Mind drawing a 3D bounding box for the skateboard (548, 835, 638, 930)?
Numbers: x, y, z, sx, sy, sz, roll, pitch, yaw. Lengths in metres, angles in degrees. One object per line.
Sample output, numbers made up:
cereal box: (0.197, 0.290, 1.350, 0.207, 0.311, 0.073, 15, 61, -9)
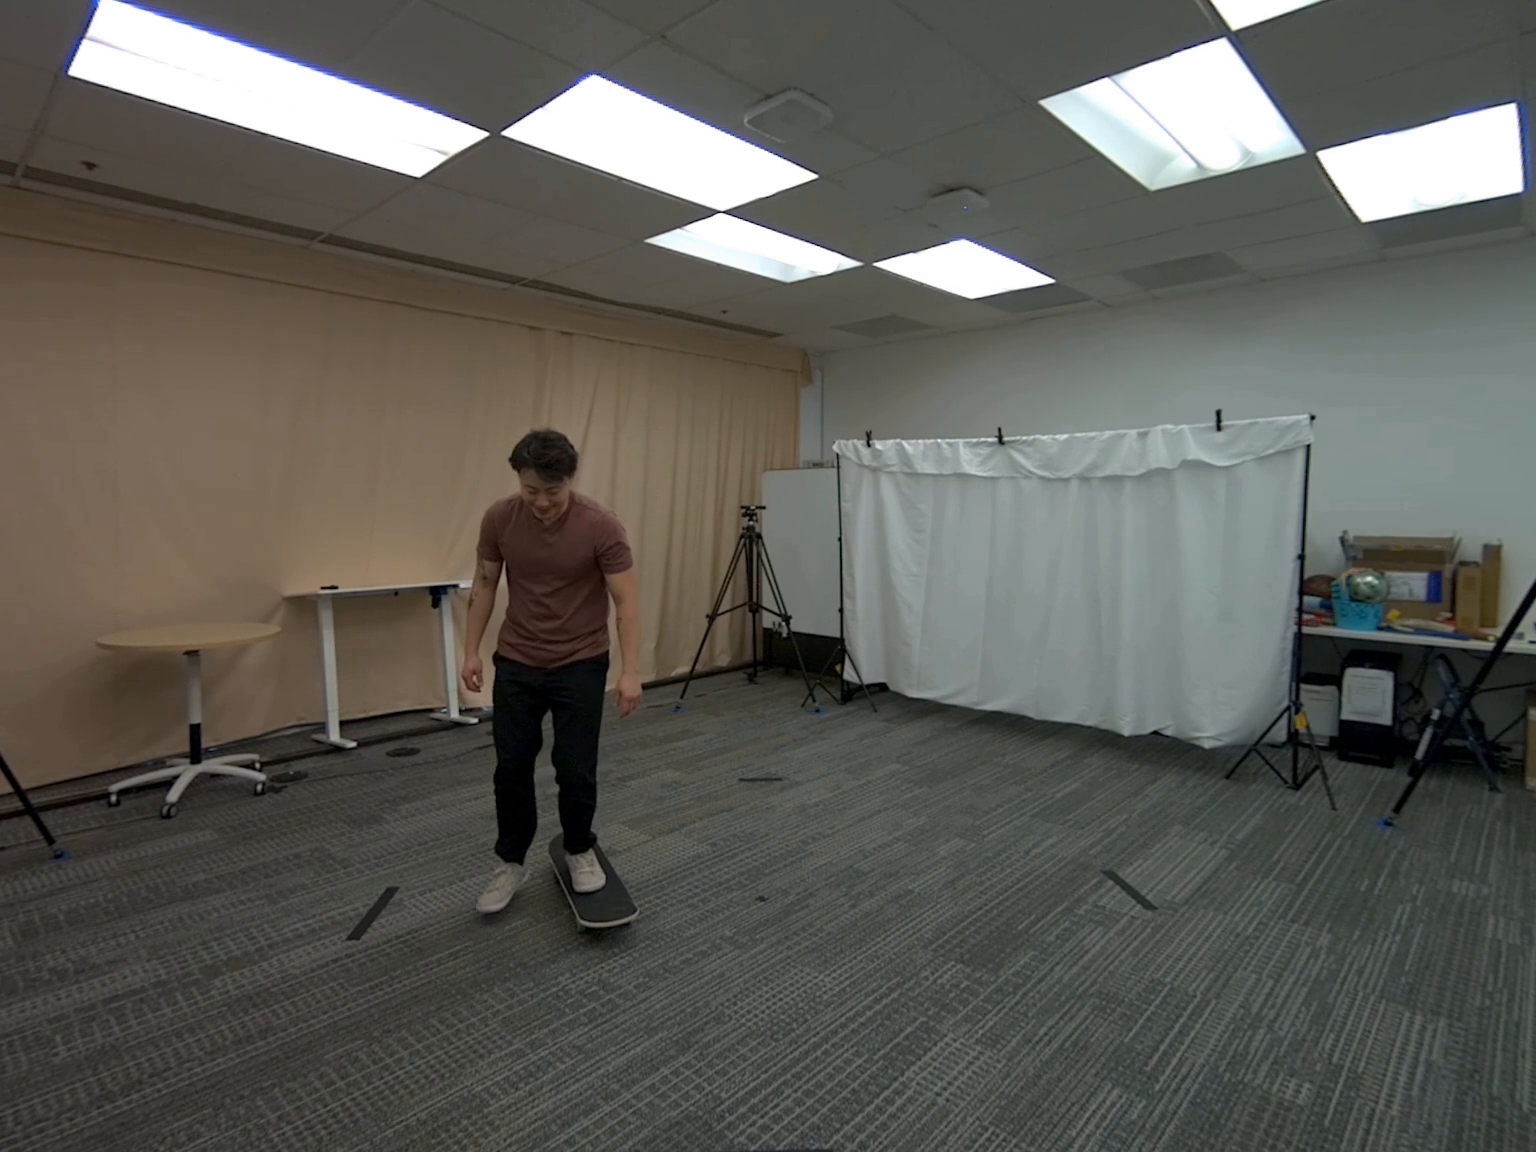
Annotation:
skateboard: (-0.628, 1.089, 2.965, 0.189, 0.110, 0.805, -5, 7, -23)
